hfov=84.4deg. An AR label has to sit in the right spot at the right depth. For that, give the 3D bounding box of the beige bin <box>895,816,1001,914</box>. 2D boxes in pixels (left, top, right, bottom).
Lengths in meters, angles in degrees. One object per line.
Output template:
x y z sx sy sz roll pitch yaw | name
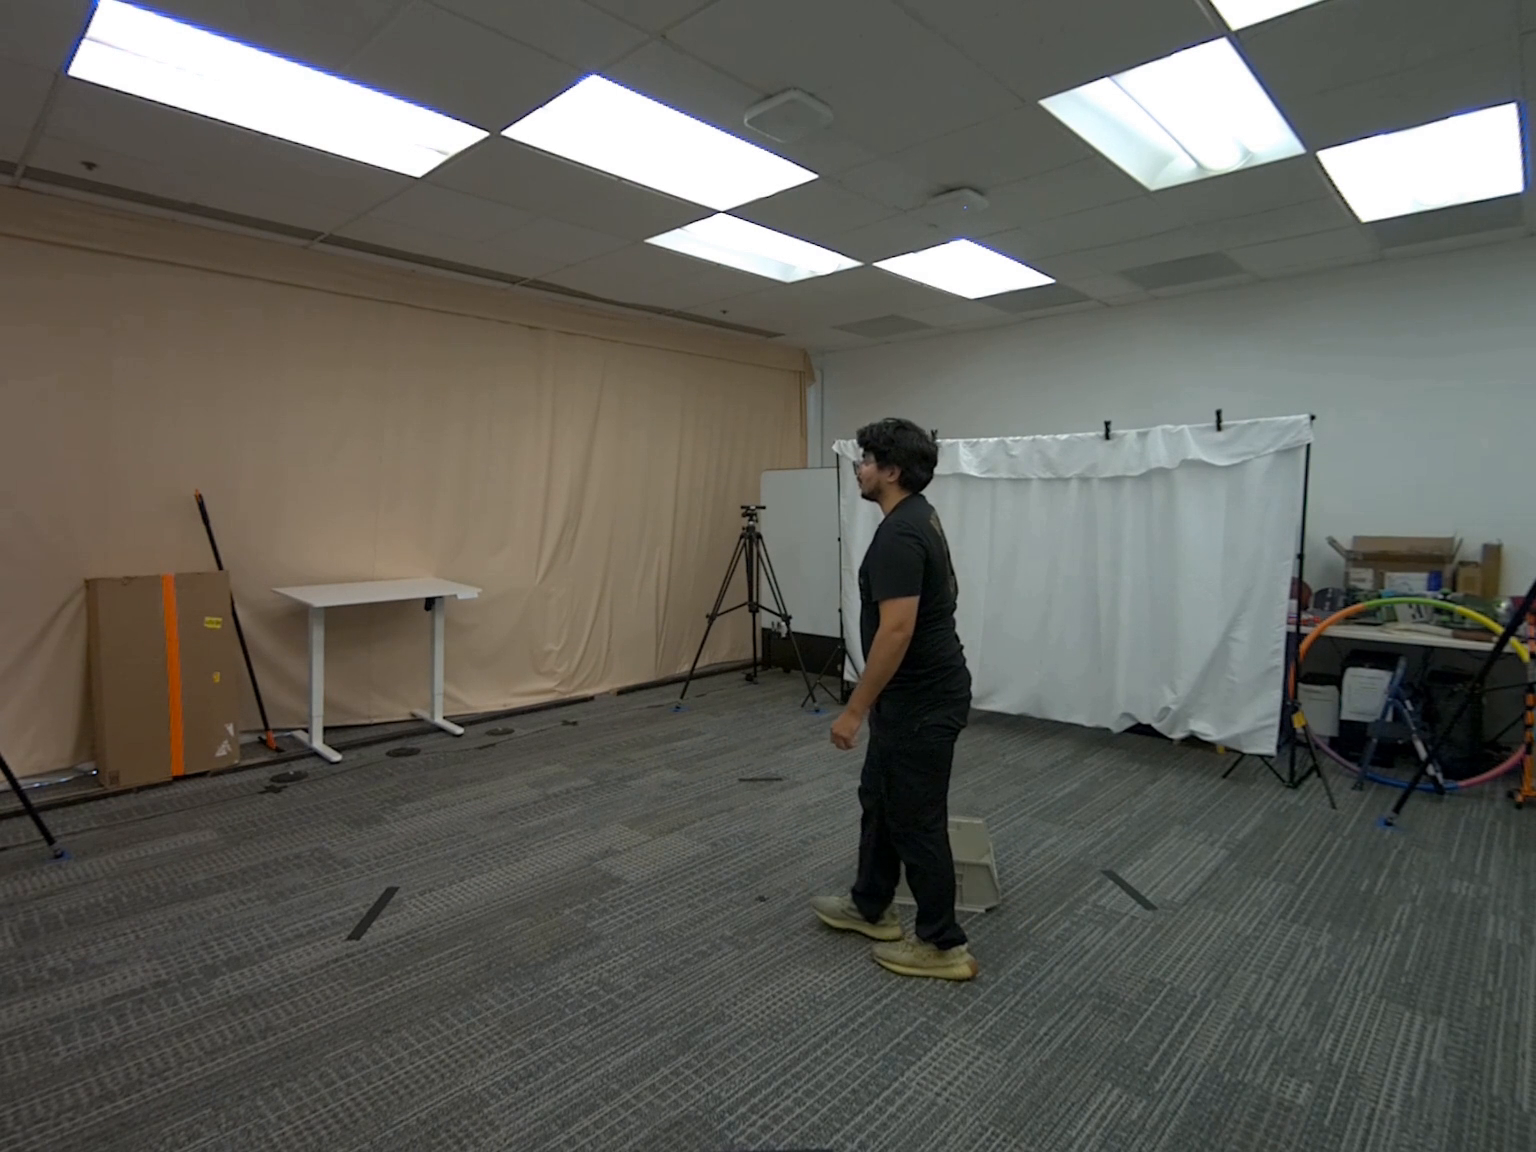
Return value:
0.651 1.043 3.099 0.383 0.188 0.417 0 5 12 | beige bin
